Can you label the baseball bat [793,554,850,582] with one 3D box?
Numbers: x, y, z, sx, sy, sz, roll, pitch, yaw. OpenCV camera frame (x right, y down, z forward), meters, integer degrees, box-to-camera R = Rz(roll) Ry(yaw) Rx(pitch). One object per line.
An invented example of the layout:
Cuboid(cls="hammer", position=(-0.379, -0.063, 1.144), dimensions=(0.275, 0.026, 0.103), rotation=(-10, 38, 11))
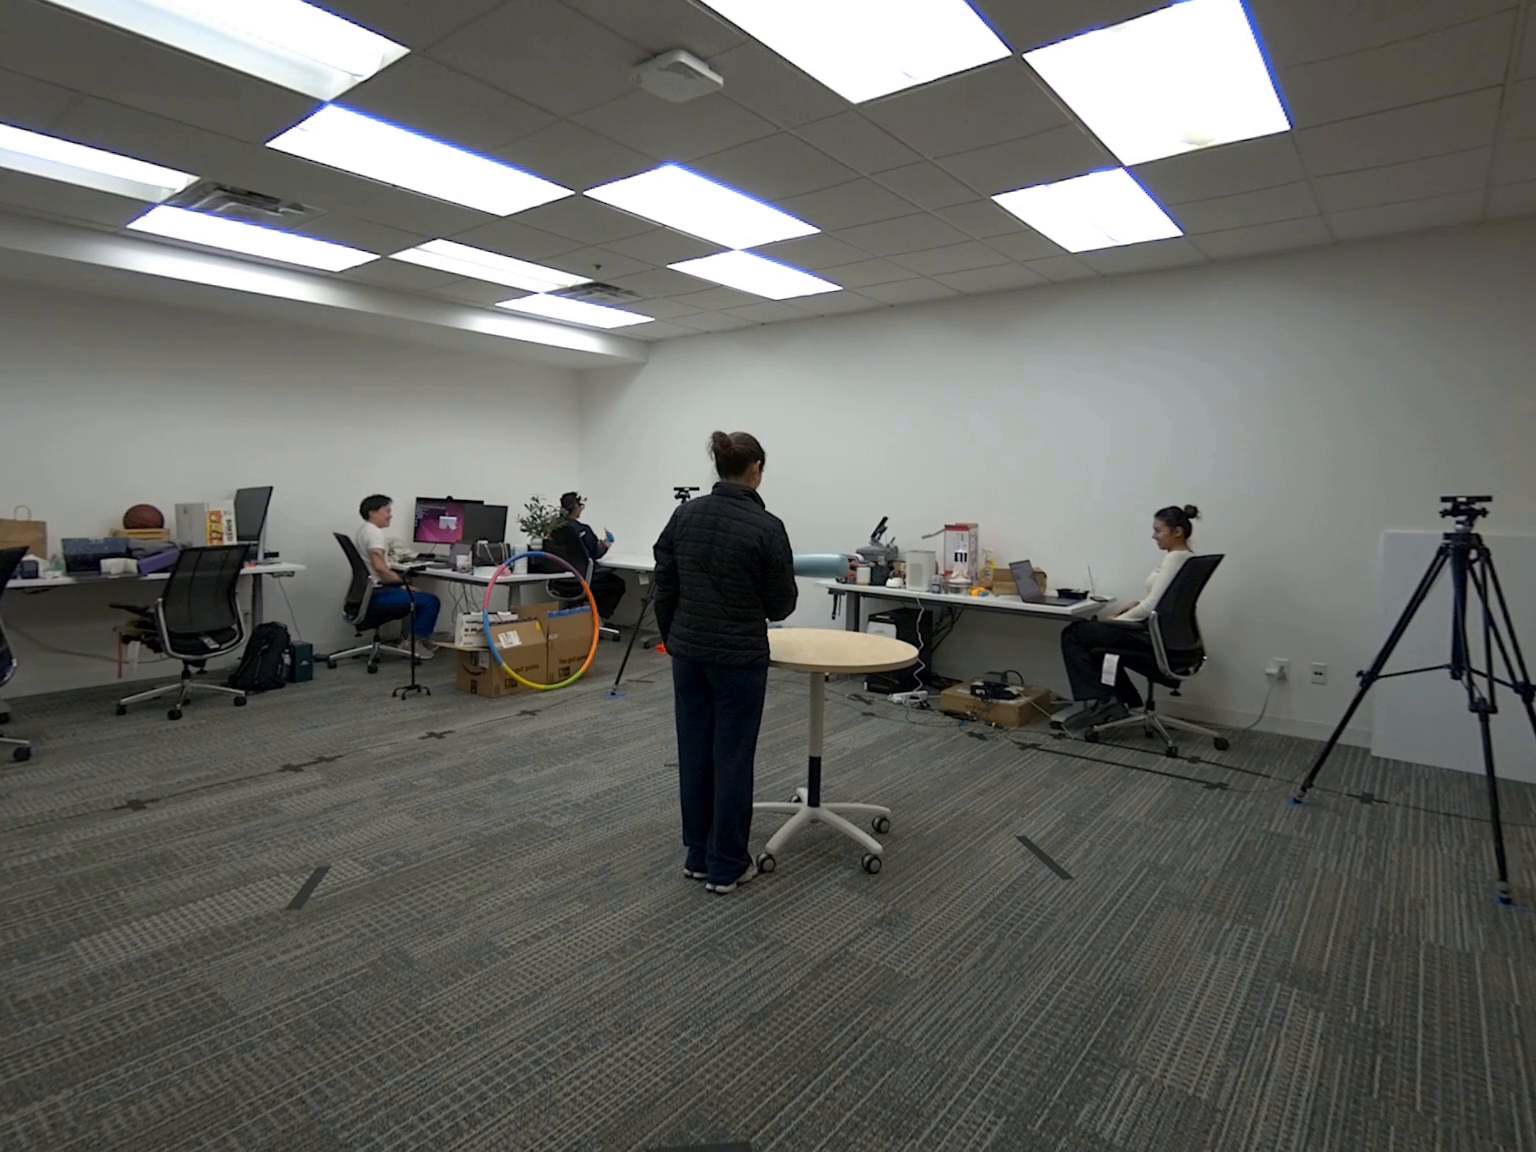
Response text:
Cuboid(cls="baseball bat", position=(0.092, -0.033, 3.277), dimensions=(0.560, 0.089, 0.086), rotation=(2, 4, 40))
